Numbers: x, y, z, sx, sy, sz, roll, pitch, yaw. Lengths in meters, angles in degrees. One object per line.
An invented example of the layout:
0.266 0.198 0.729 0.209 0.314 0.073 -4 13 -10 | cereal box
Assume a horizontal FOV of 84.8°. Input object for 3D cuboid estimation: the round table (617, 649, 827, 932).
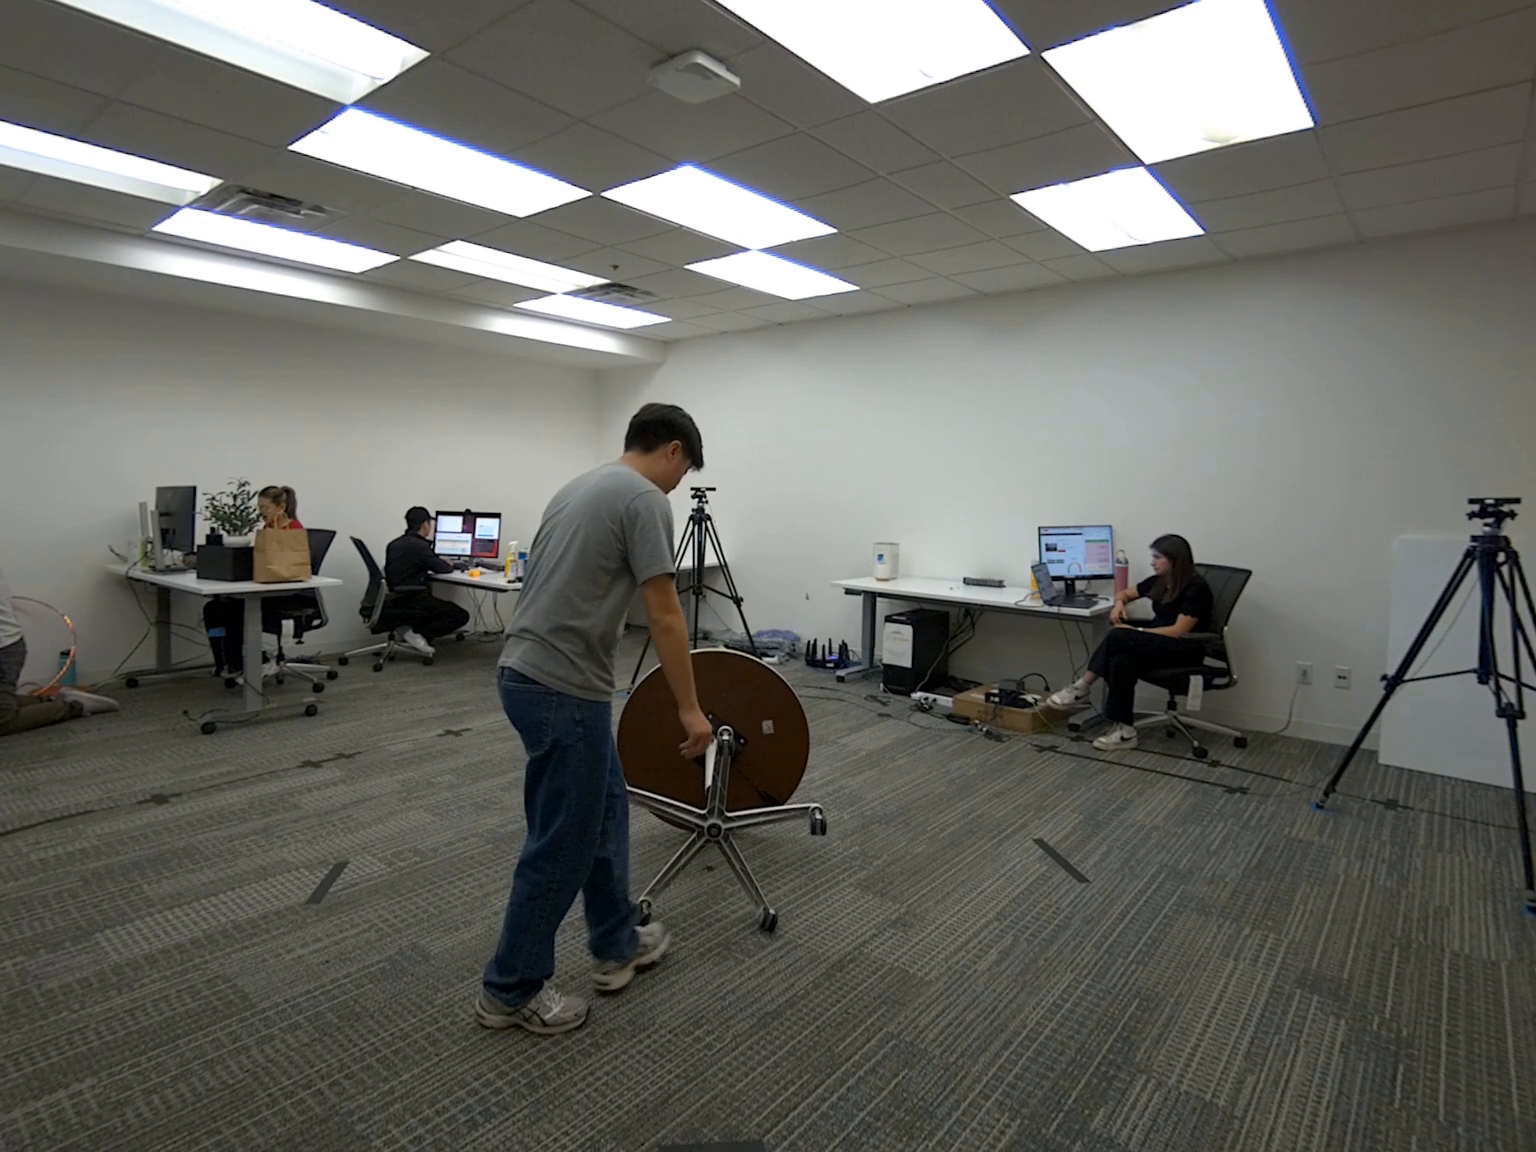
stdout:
-0.194 0.744 2.995 0.763 0.757 0.803 1 10 -3 | round table
